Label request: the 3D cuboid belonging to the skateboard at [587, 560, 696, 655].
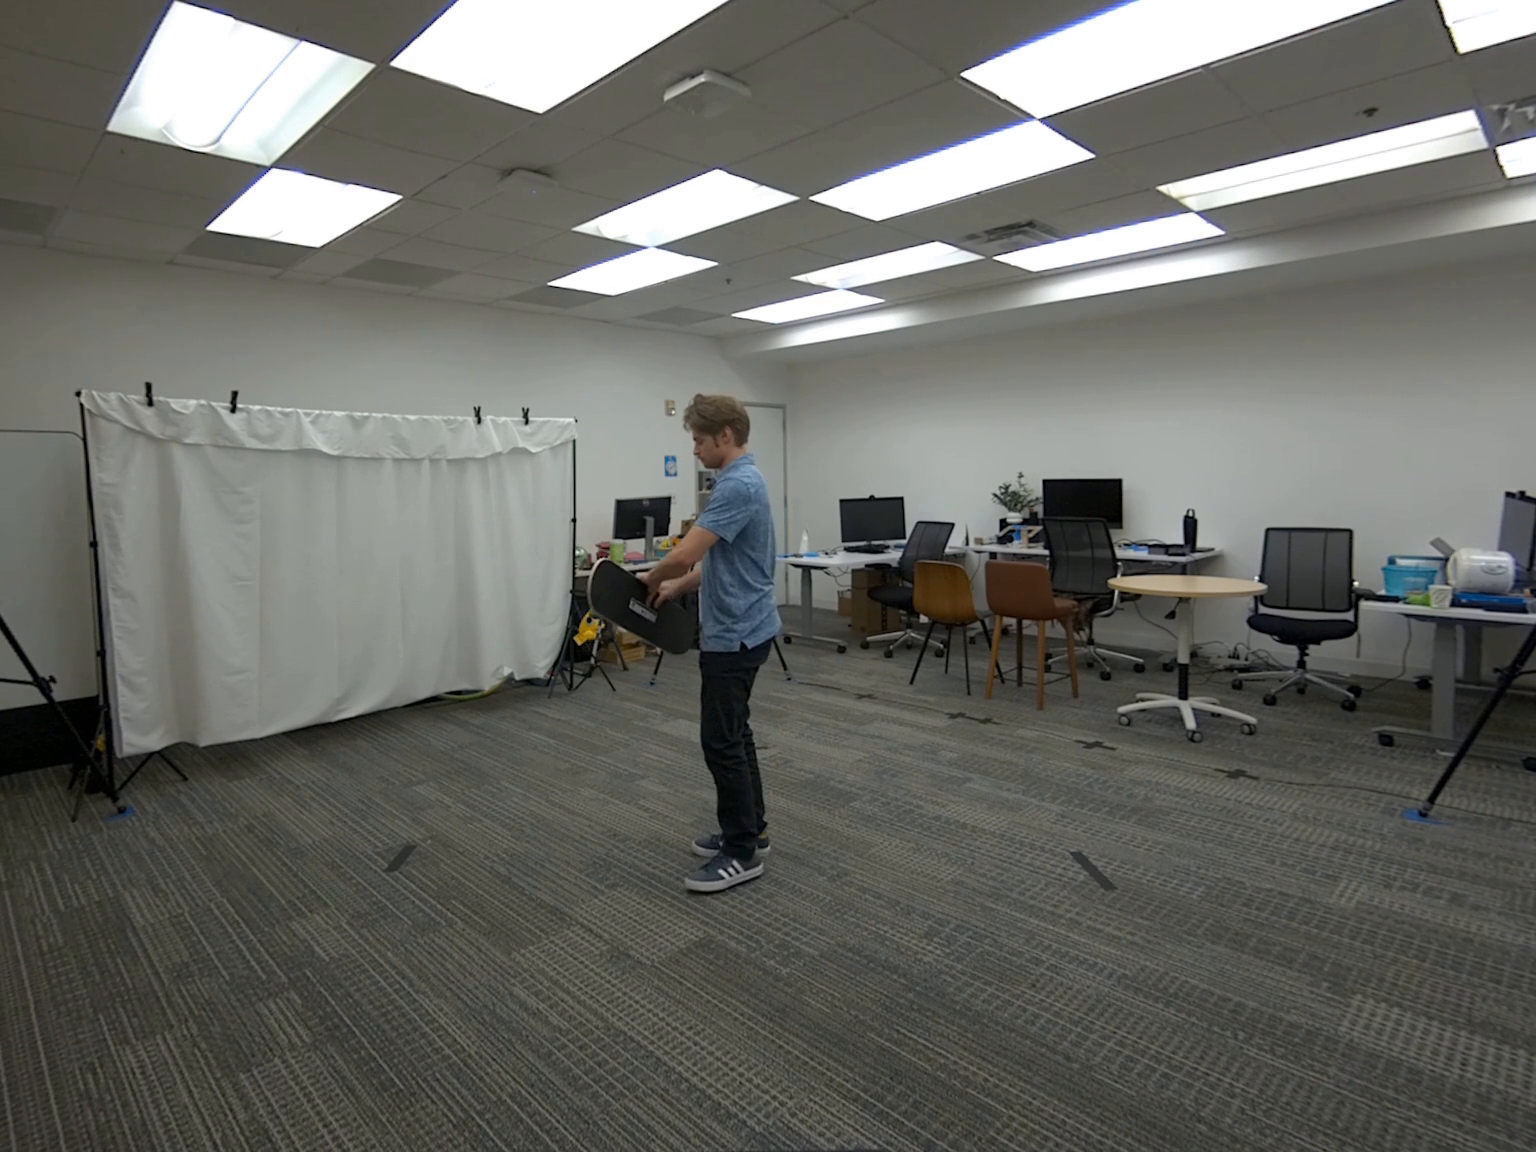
[{"bbox_3d":[-0.488,0.125,3.149,0.113,0.196,0.758,2,-19,23],"label":"skateboard"}]
